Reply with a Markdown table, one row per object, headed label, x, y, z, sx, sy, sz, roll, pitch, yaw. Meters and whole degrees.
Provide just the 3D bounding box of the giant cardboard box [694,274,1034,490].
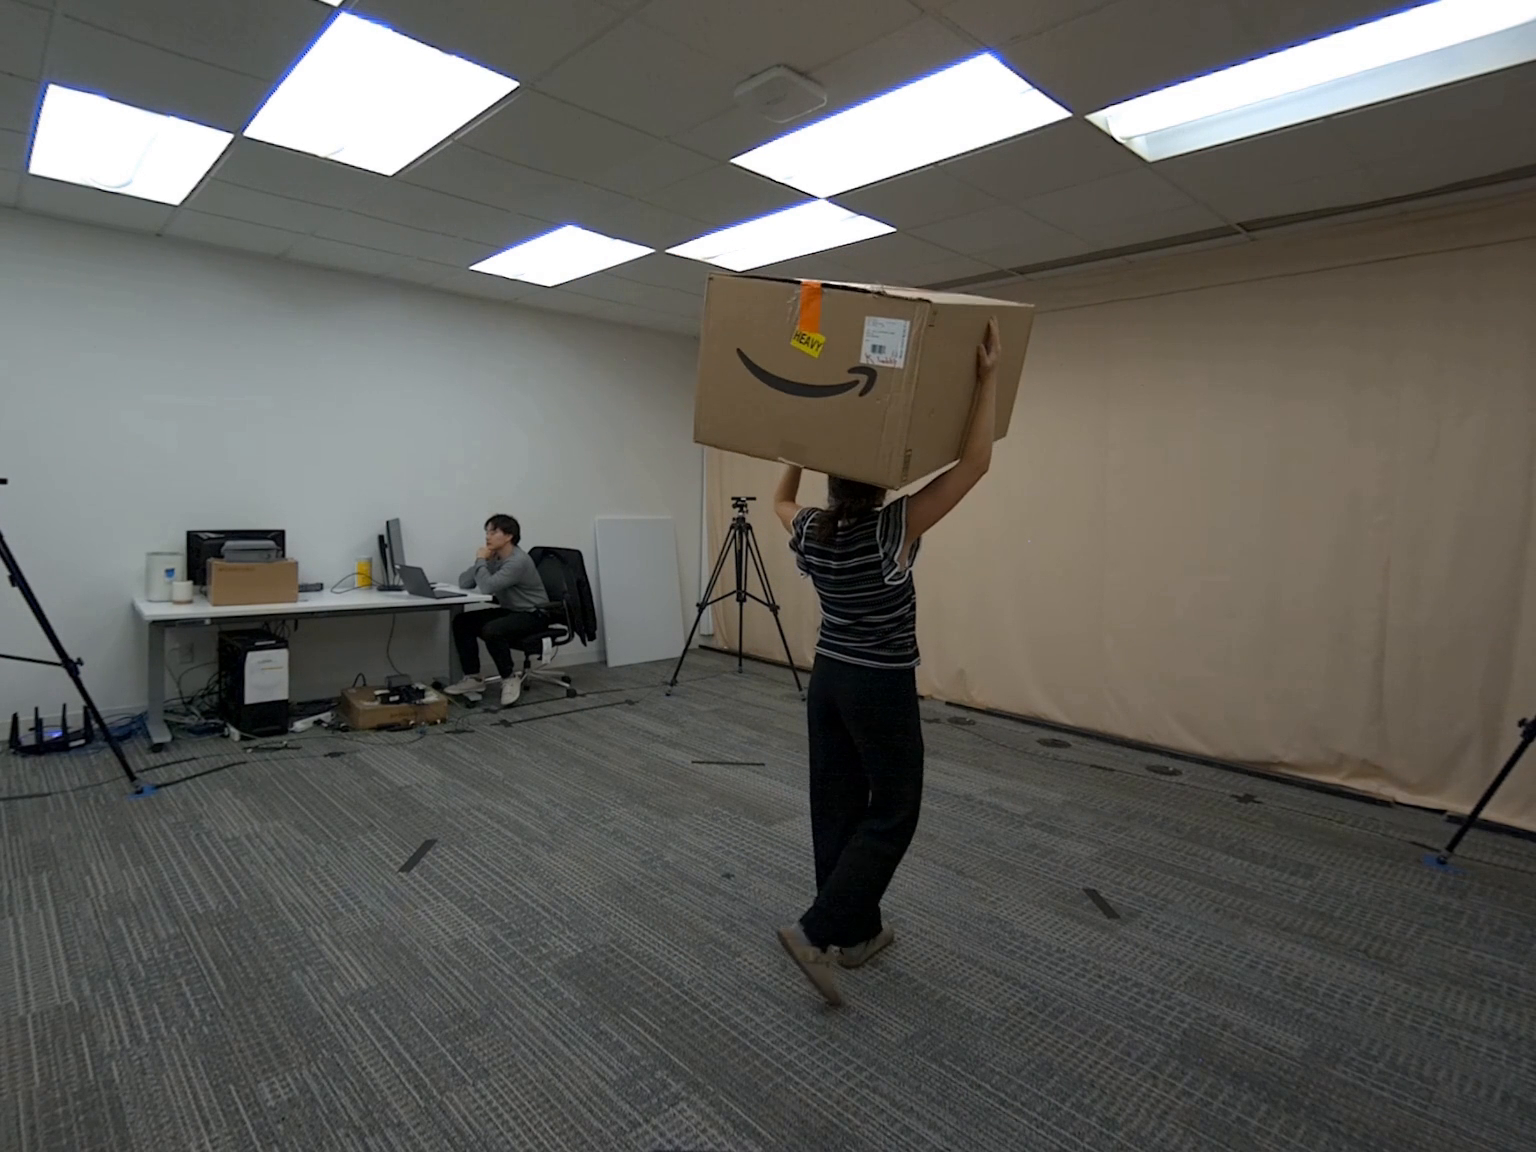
| label | x | y | z | sx | sy | sz | roll | pitch | yaw |
| --- | --- | --- | --- | --- | --- | --- | --- | --- | --- |
| giant cardboard box | 0.312 | -0.593 | 2.405 | 0.591 | 0.421 | 1.015 | 16 | 22 | 25 |
